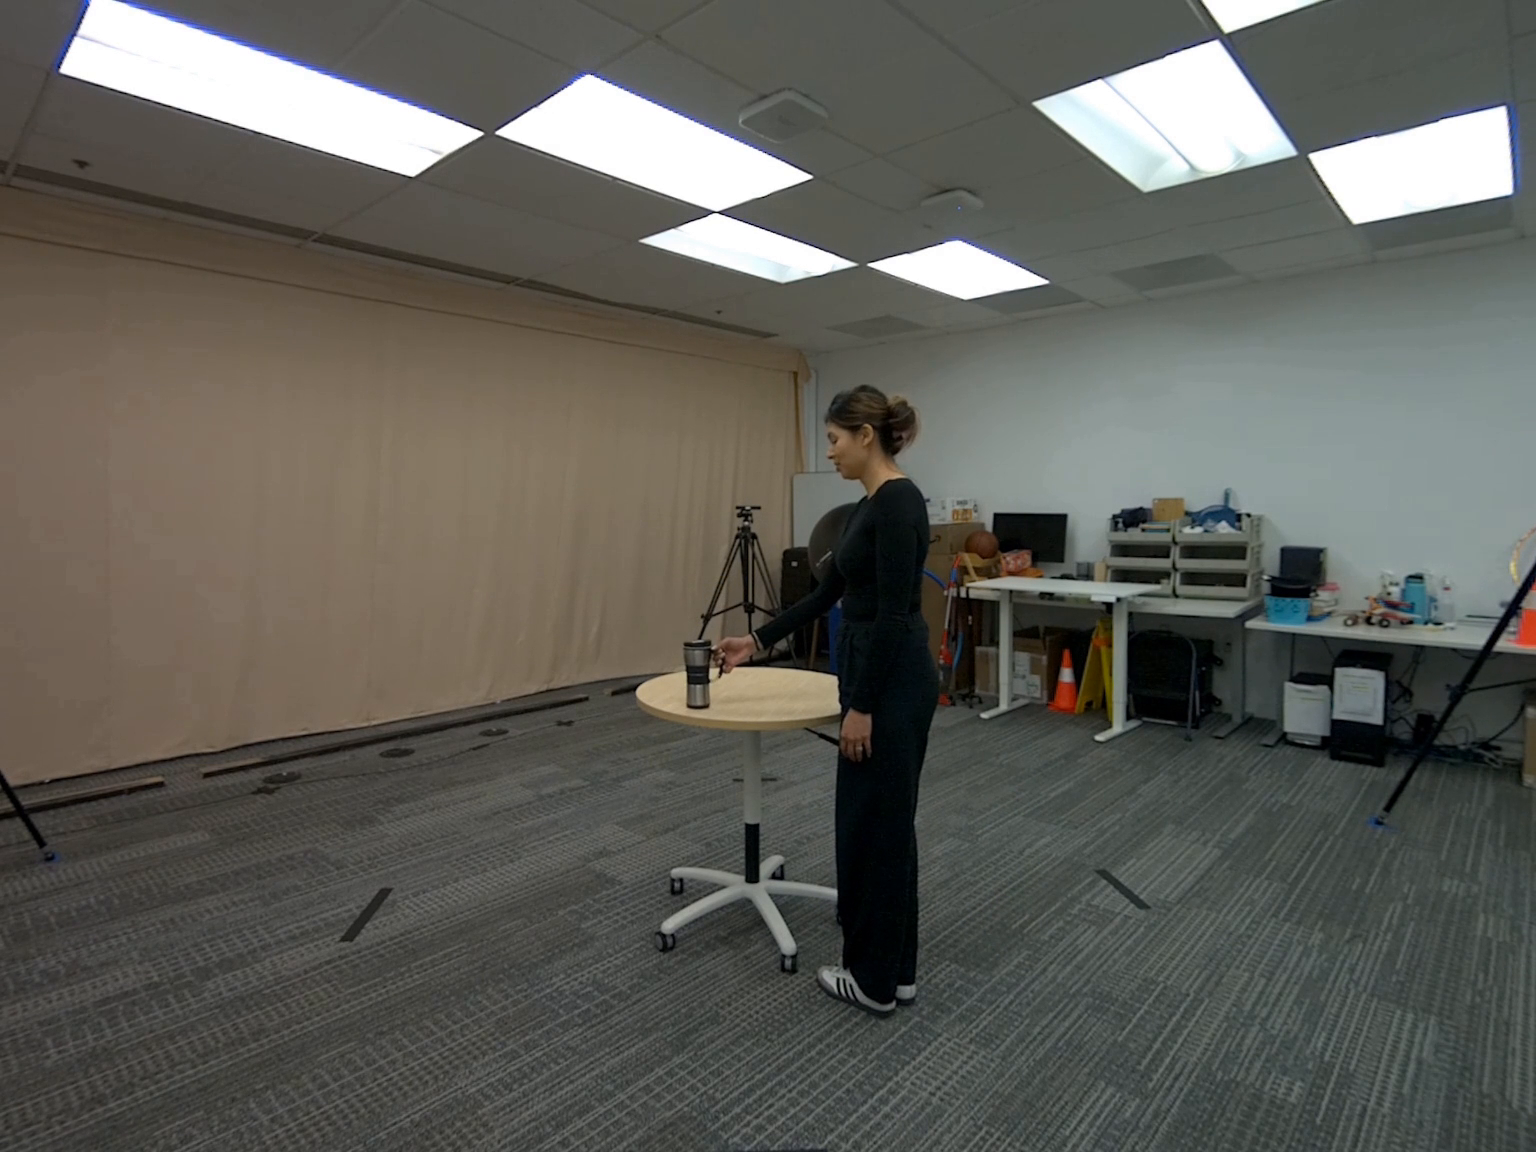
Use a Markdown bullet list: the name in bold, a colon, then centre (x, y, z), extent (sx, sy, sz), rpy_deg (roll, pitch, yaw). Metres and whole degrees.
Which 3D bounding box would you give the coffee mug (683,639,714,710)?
- **coffee mug**: centre (-0.198, 0.301, 2.532), extent (0.126, 0.203, 0.085), rpy_deg (-2, -2, 41)
